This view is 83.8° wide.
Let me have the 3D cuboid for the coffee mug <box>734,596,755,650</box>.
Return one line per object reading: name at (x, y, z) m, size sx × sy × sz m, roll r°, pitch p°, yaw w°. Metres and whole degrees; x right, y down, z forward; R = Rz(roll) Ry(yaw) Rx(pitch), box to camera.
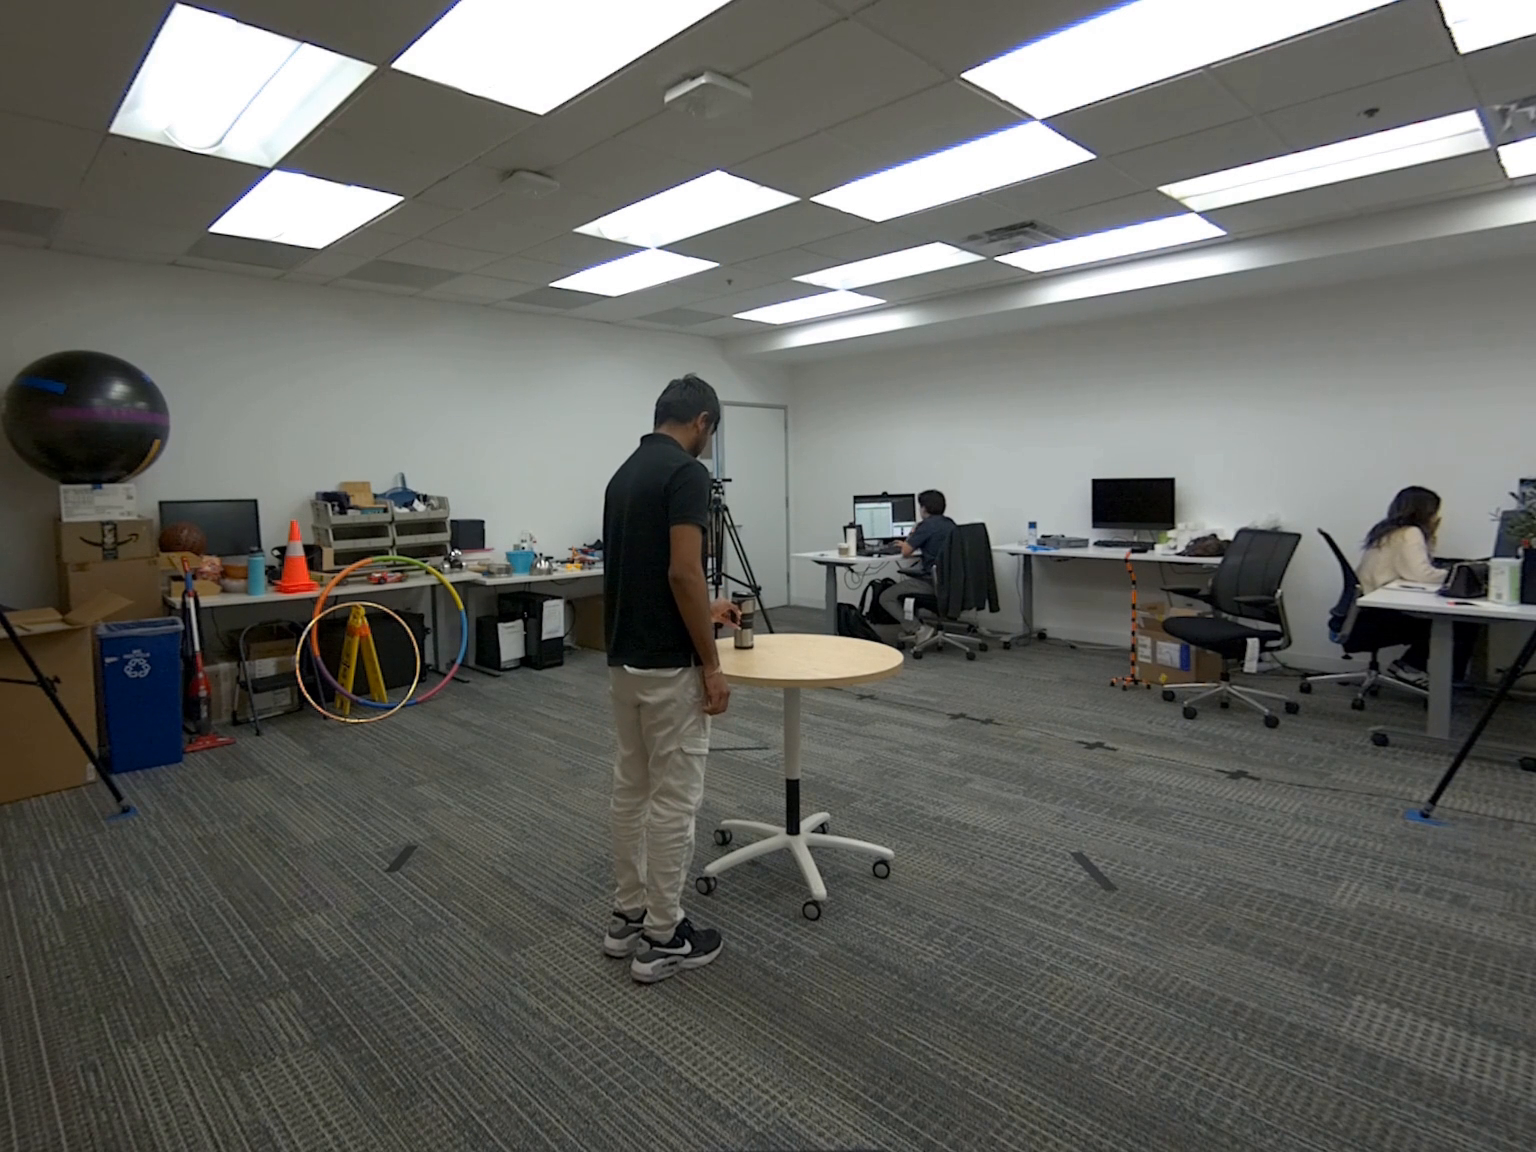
coffee mug at (-0.103, 0.163, 3.083) m, size 0.118 × 0.202 × 0.091 m, roll -1°, pitch 6°, yaw -38°
